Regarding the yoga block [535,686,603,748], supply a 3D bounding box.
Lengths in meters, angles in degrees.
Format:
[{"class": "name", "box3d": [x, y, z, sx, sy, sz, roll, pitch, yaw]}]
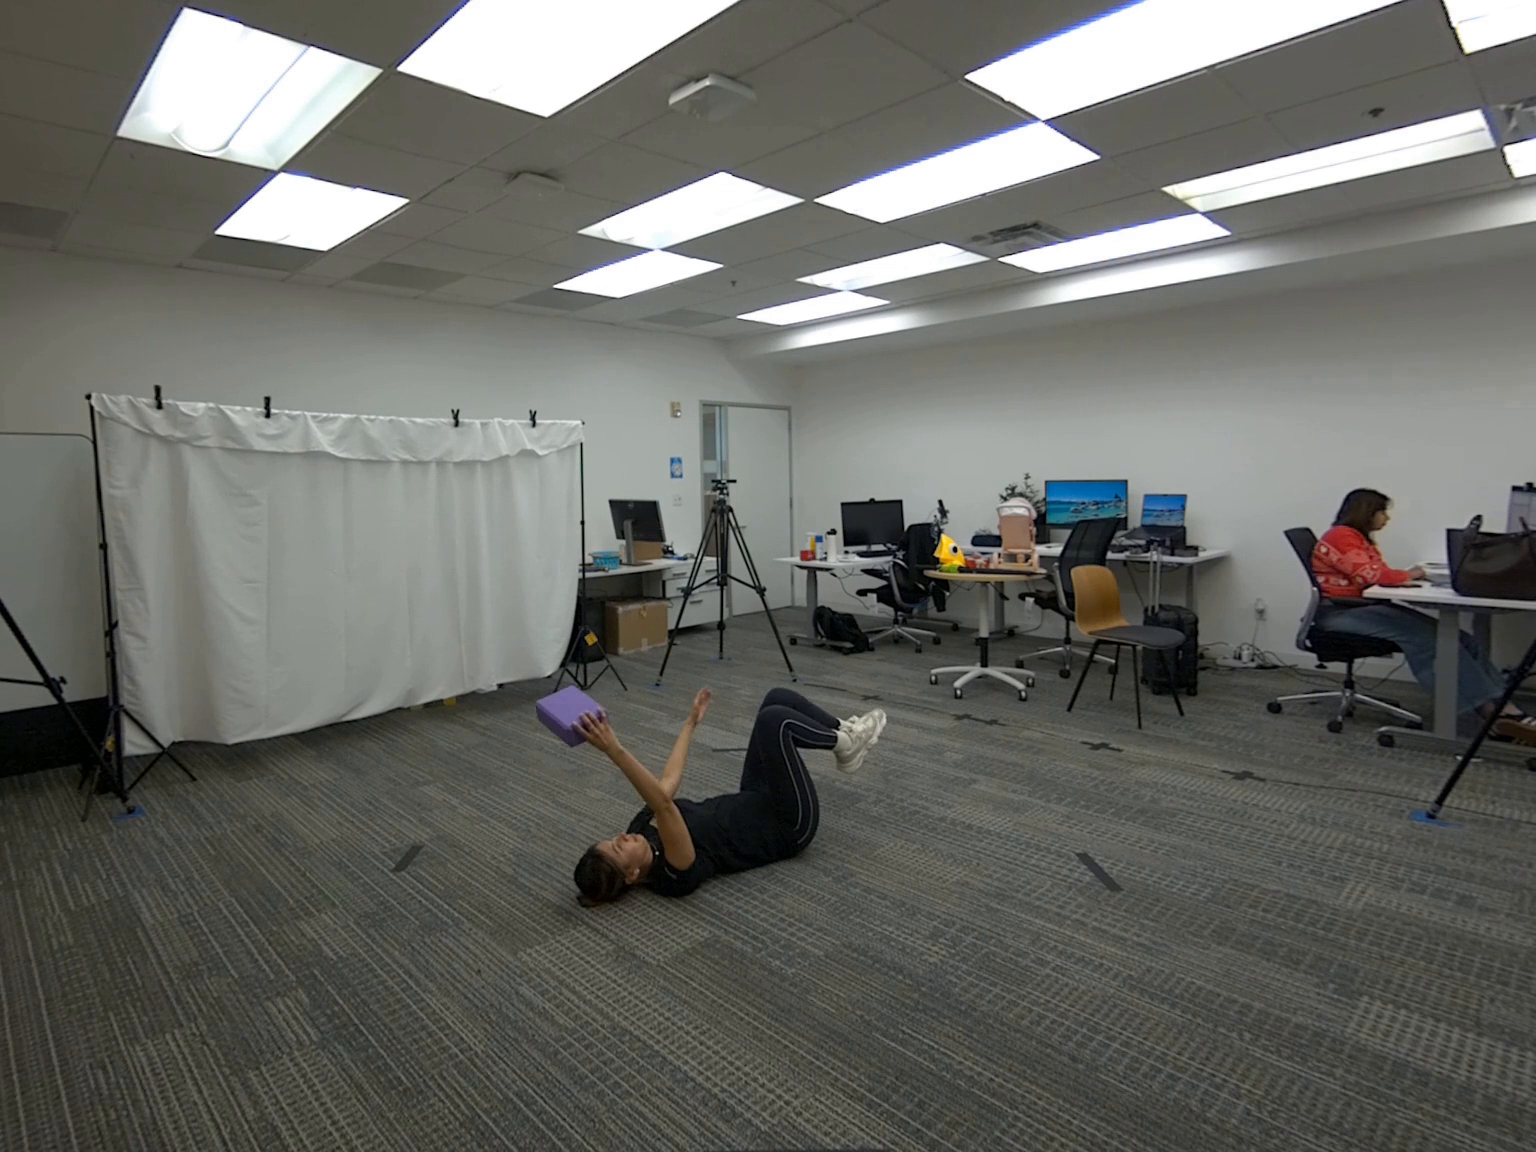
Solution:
[{"class": "yoga block", "box3d": [-0.623, 0.444, 2.734, 0.146, 0.075, 0.238, -22, 29, -35]}]
